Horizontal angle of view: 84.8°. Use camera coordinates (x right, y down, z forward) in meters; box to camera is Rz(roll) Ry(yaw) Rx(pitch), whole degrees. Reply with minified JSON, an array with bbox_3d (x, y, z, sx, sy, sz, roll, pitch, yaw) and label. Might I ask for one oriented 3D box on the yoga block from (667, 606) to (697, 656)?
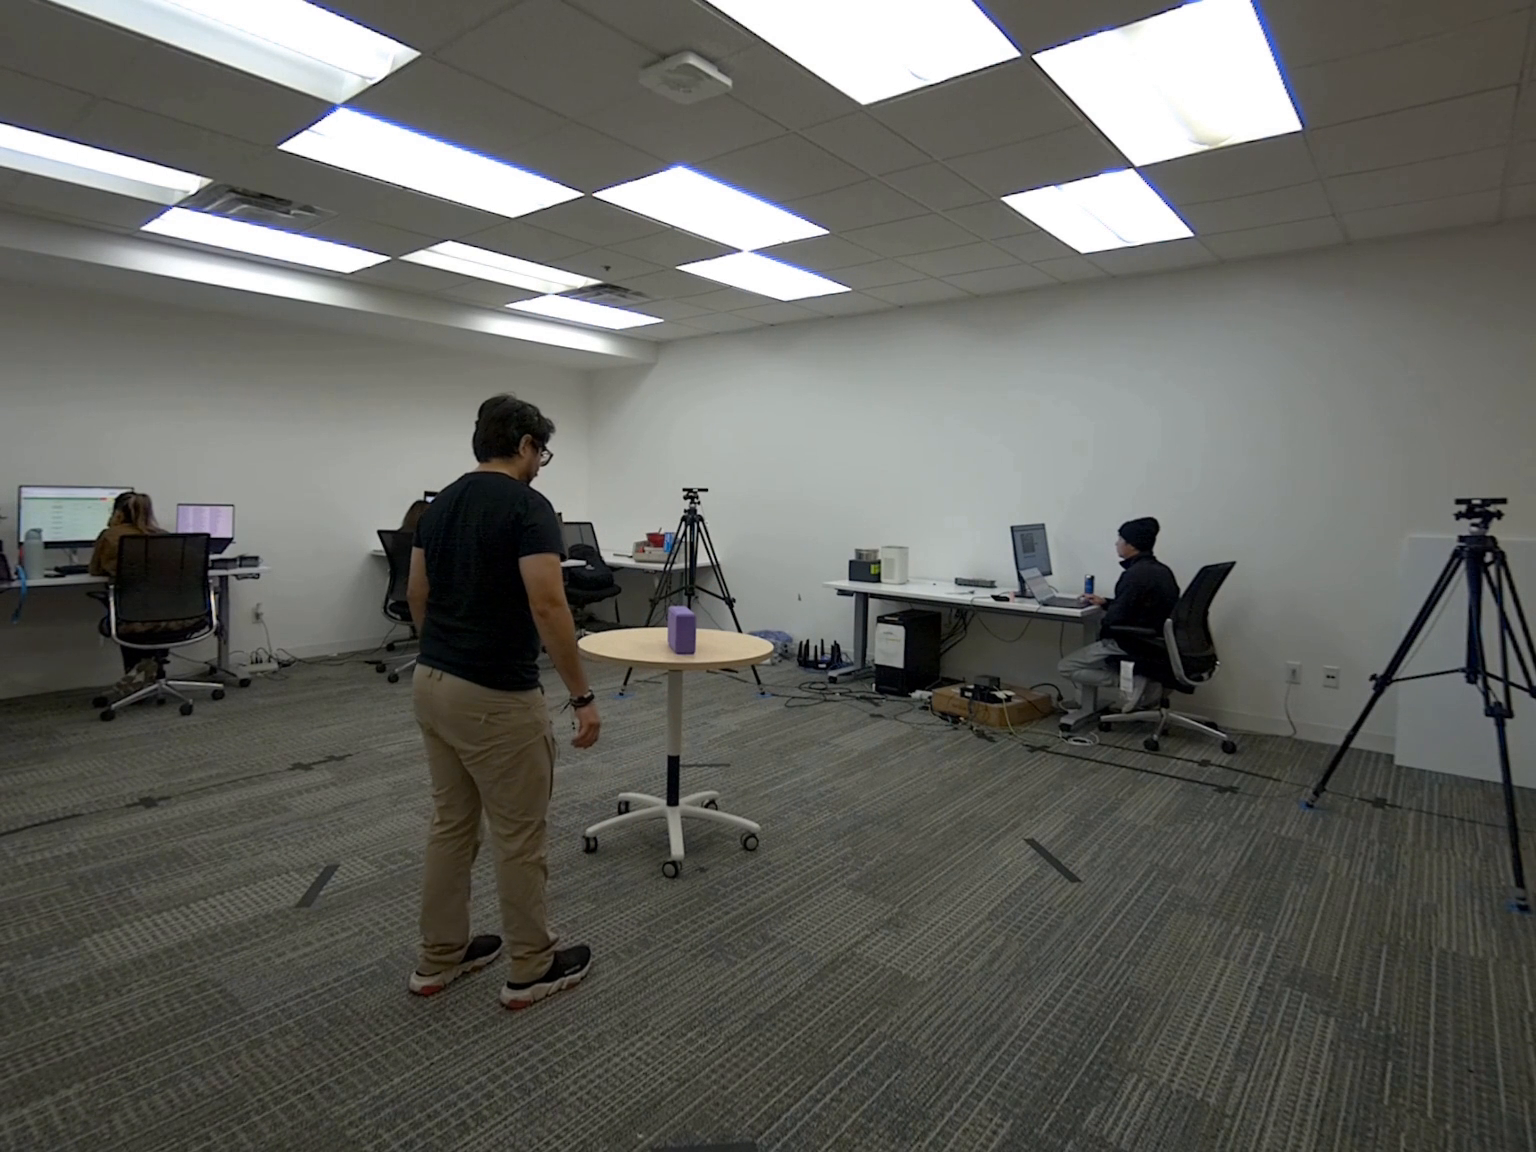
[{"bbox_3d":[-0.343,0.199,3.219,0.075,0.148,0.232,0,5,-11],"label":"yoga block"}]
